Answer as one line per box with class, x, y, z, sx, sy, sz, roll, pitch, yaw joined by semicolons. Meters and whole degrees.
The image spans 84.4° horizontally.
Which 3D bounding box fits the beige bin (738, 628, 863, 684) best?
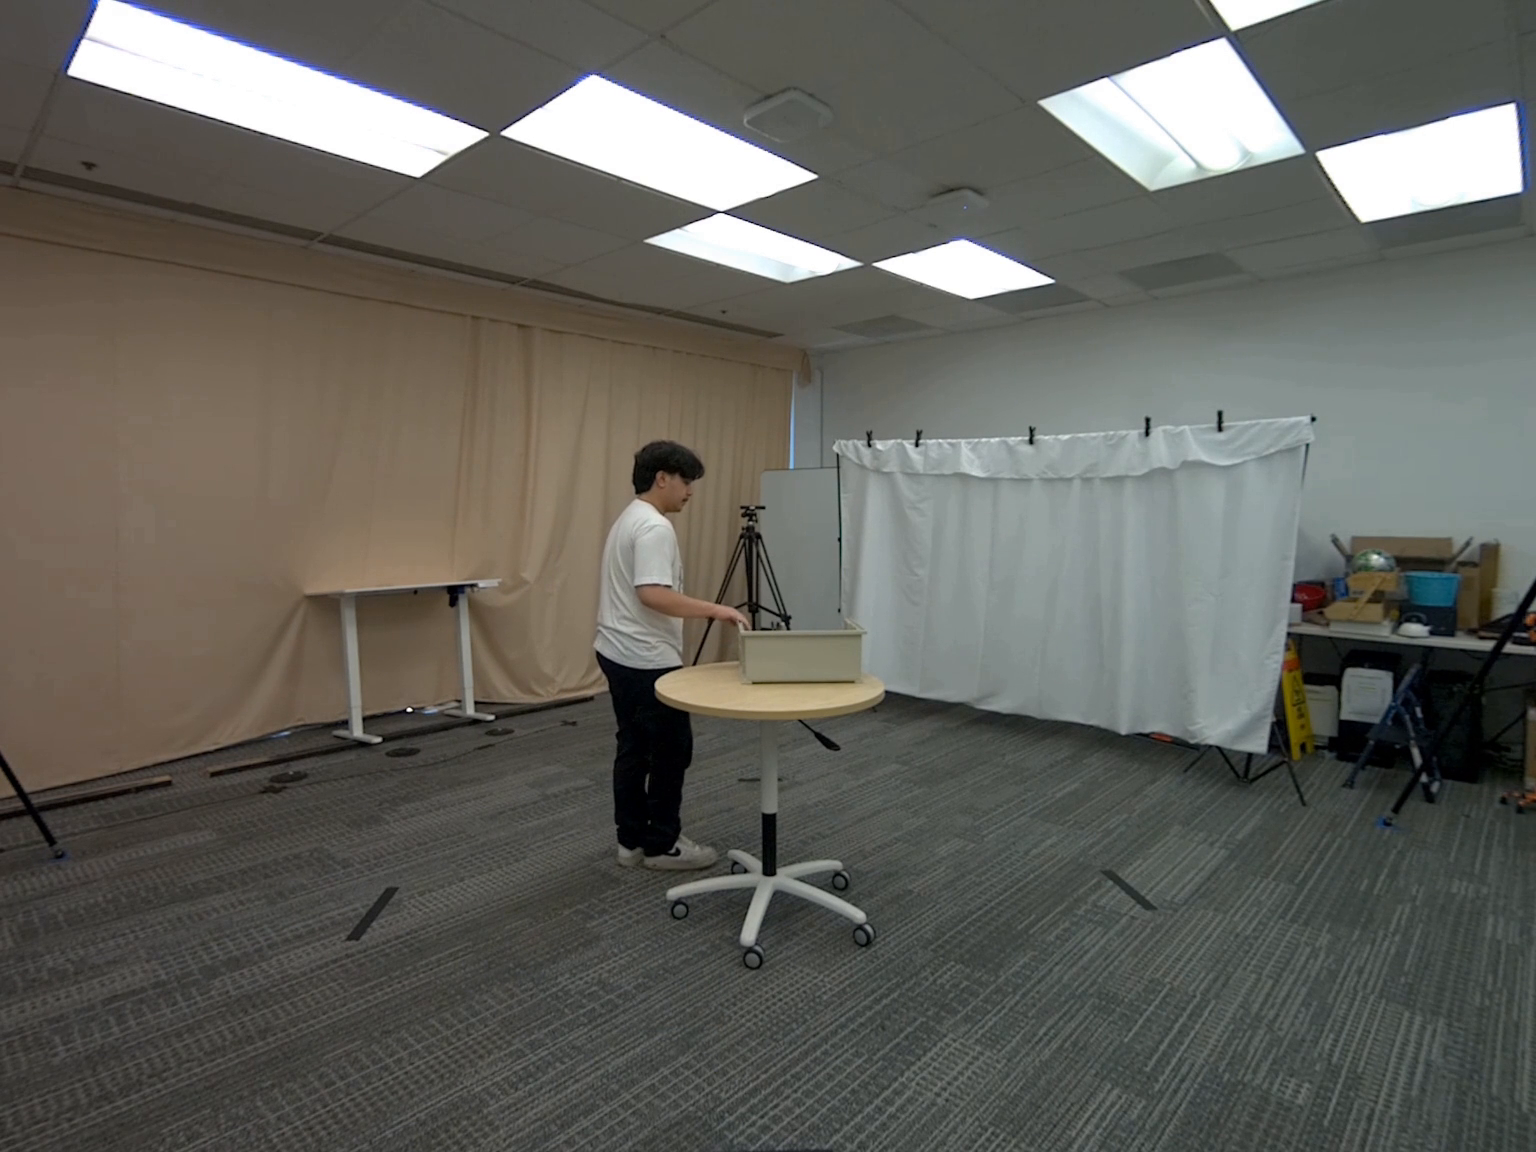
beige bin;0.107;0.256;2.979;0.421;0.188;0.380;-1;6;-4
